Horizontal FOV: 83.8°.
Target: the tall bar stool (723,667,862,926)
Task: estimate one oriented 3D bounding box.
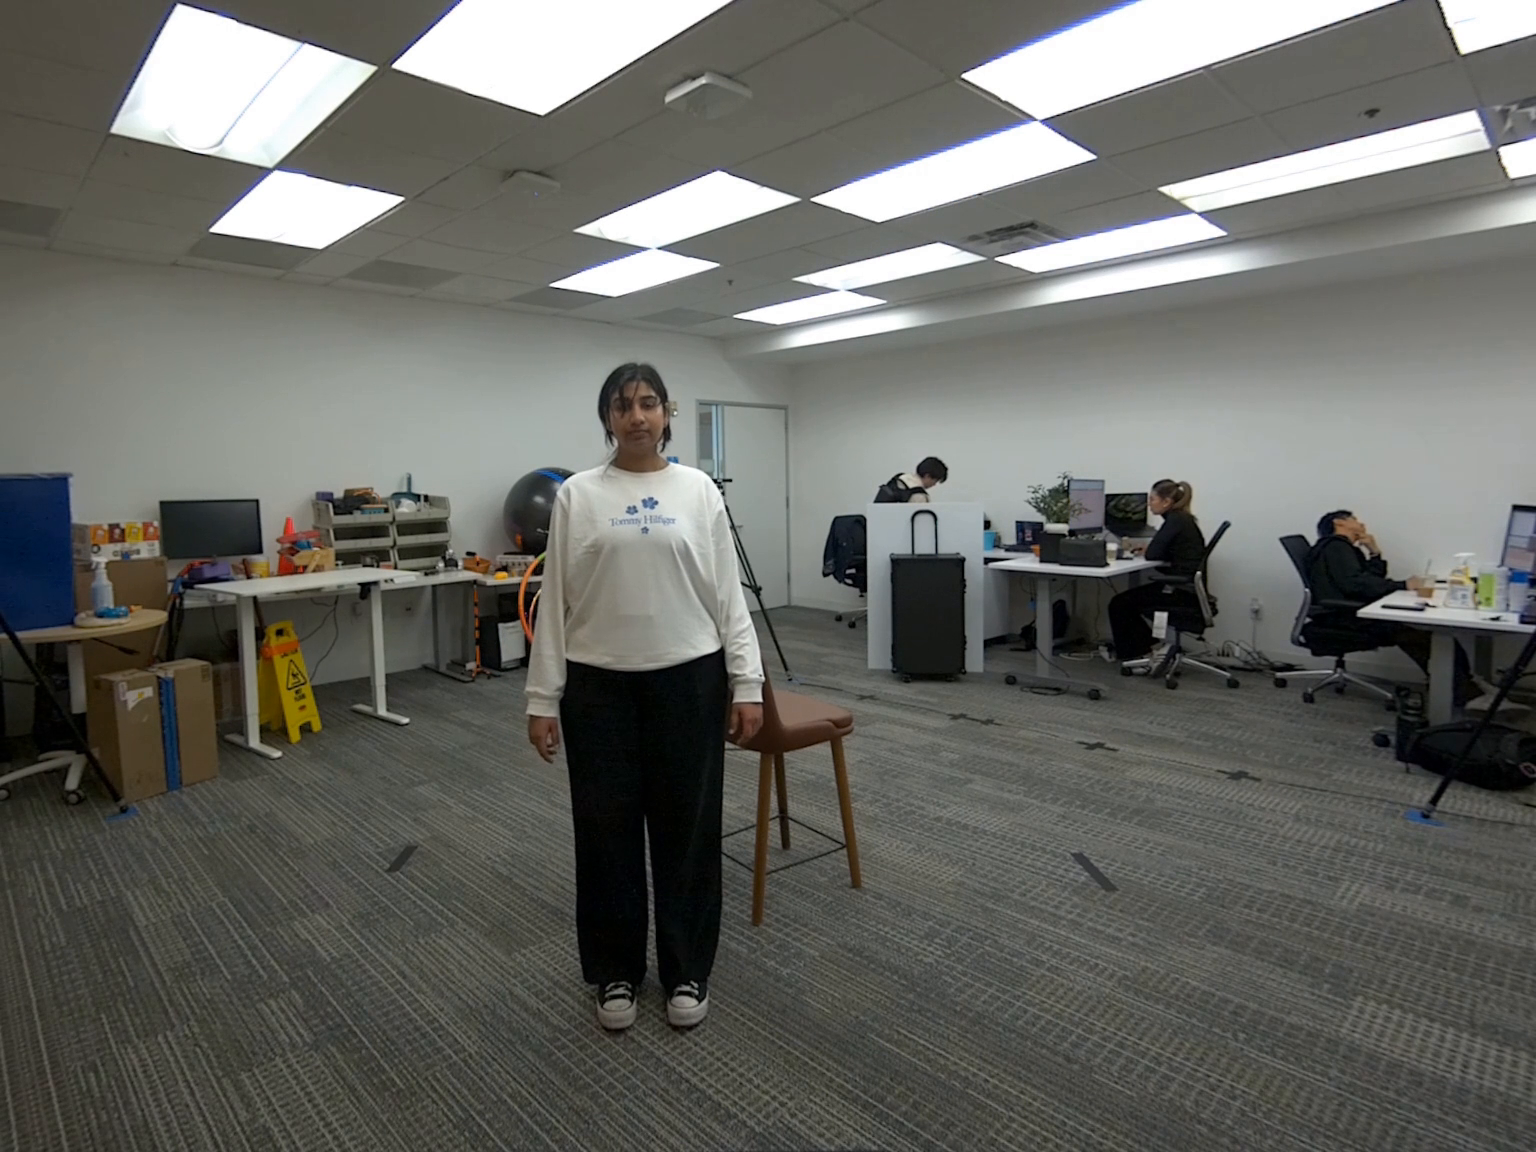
[{"bbox_3d":[0.015,0.629,2.922,0.456,0.885,0.470,-6,7,-36],"label":"tall bar stool"}]
